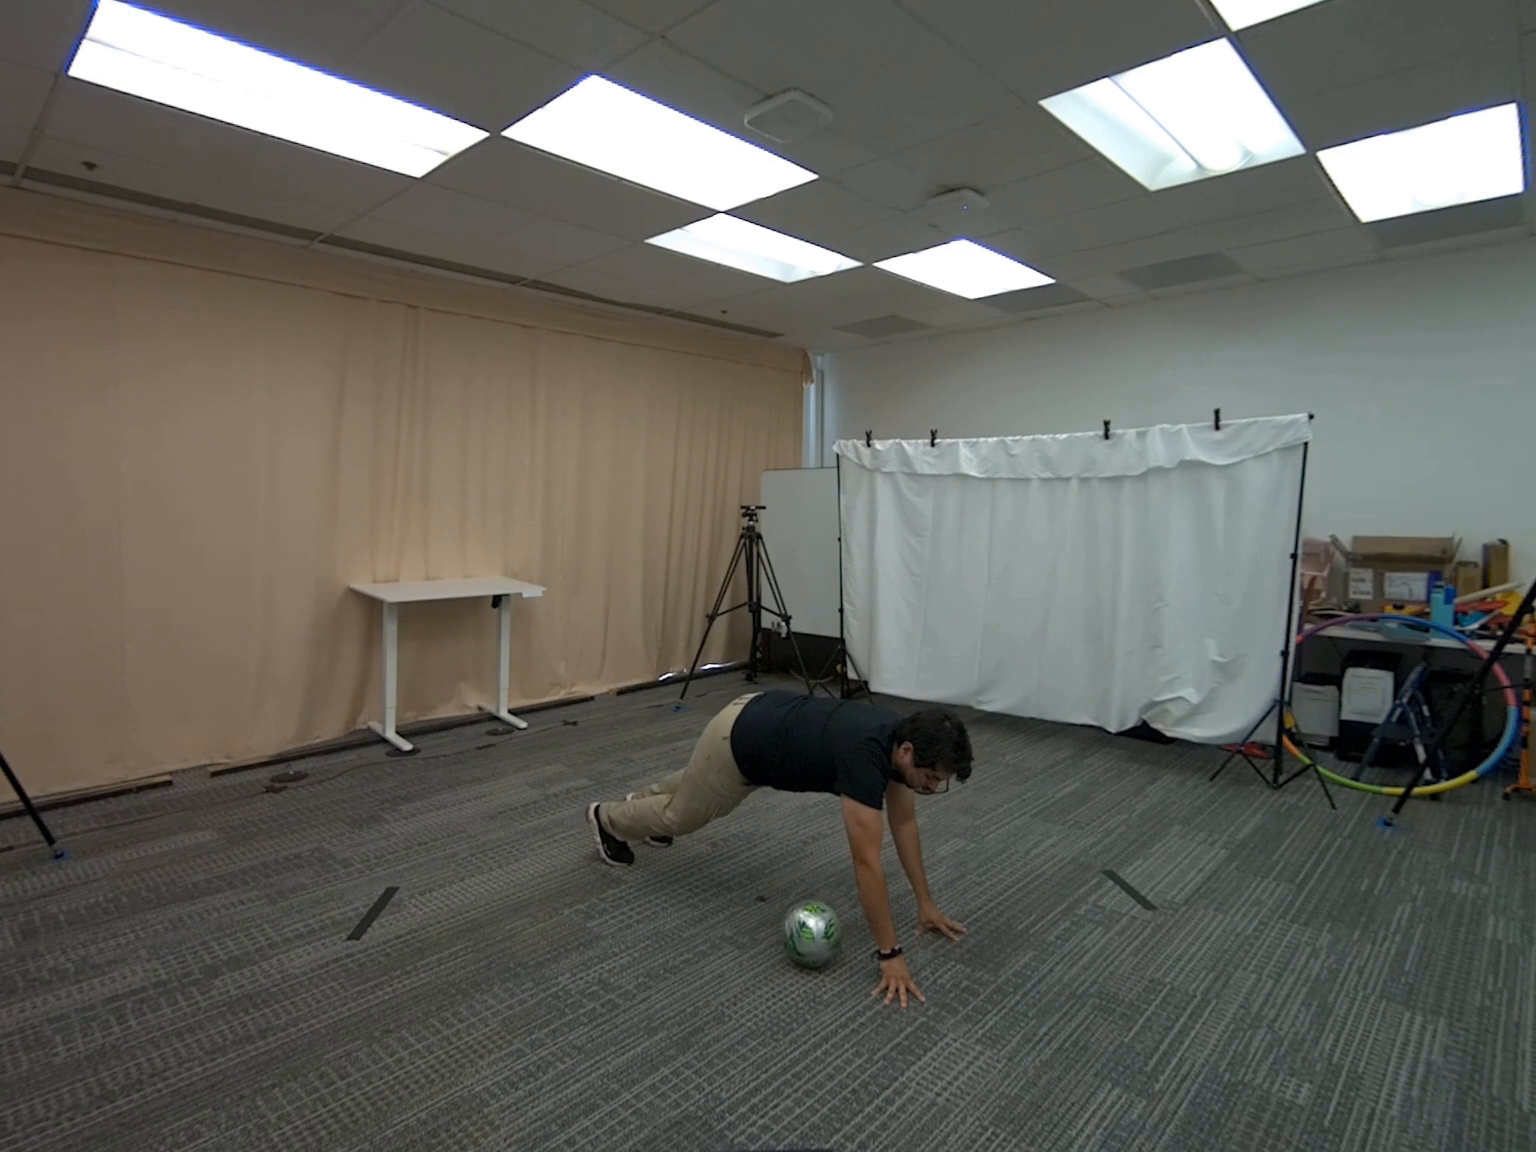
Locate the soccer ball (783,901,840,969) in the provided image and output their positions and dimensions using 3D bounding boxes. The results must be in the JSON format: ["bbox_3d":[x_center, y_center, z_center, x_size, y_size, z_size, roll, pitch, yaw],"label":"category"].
[{"bbox_3d":[0.133,1.088,2.560,0.187,0.187,0.188,0,4,-2],"label":"soccer ball"}]
